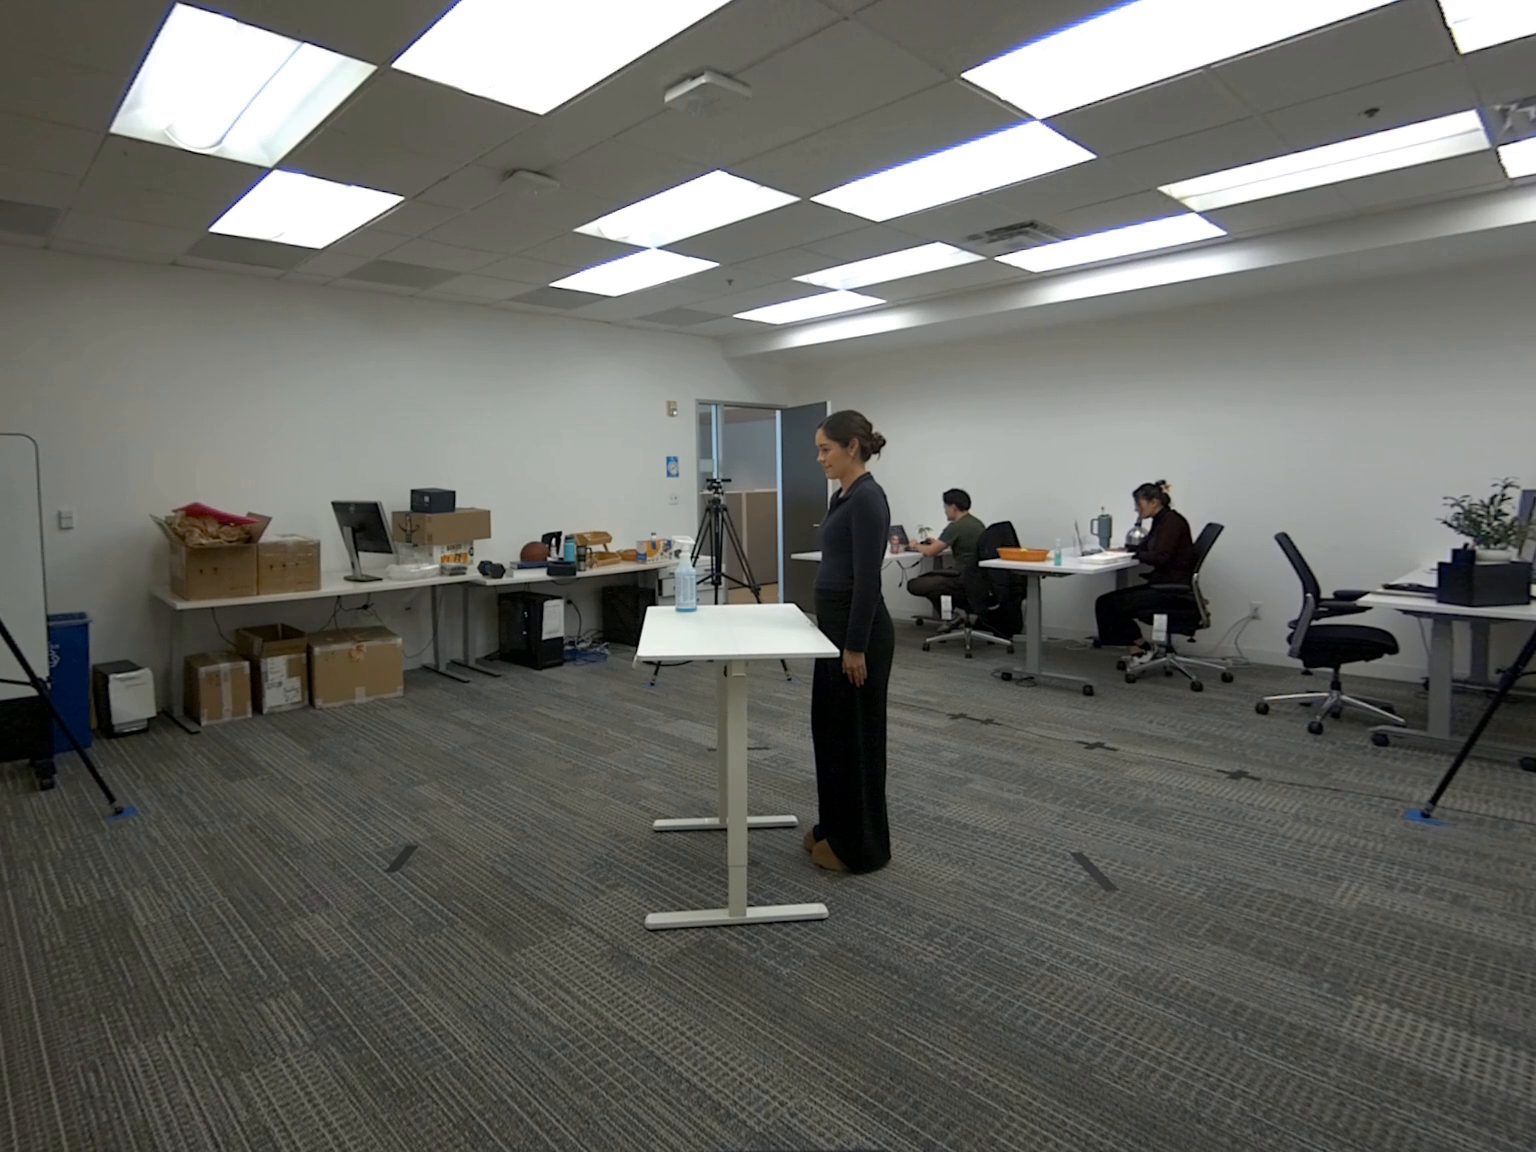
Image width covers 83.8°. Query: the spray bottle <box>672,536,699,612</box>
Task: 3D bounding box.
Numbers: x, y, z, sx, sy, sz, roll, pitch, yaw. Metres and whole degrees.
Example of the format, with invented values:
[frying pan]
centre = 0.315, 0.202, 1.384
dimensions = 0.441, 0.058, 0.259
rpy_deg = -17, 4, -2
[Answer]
[spray bottle]
centre = -0.324, -0.007, 3.378
dimensions = 0.091, 0.296, 0.086
rpy_deg = -1, 5, 16
